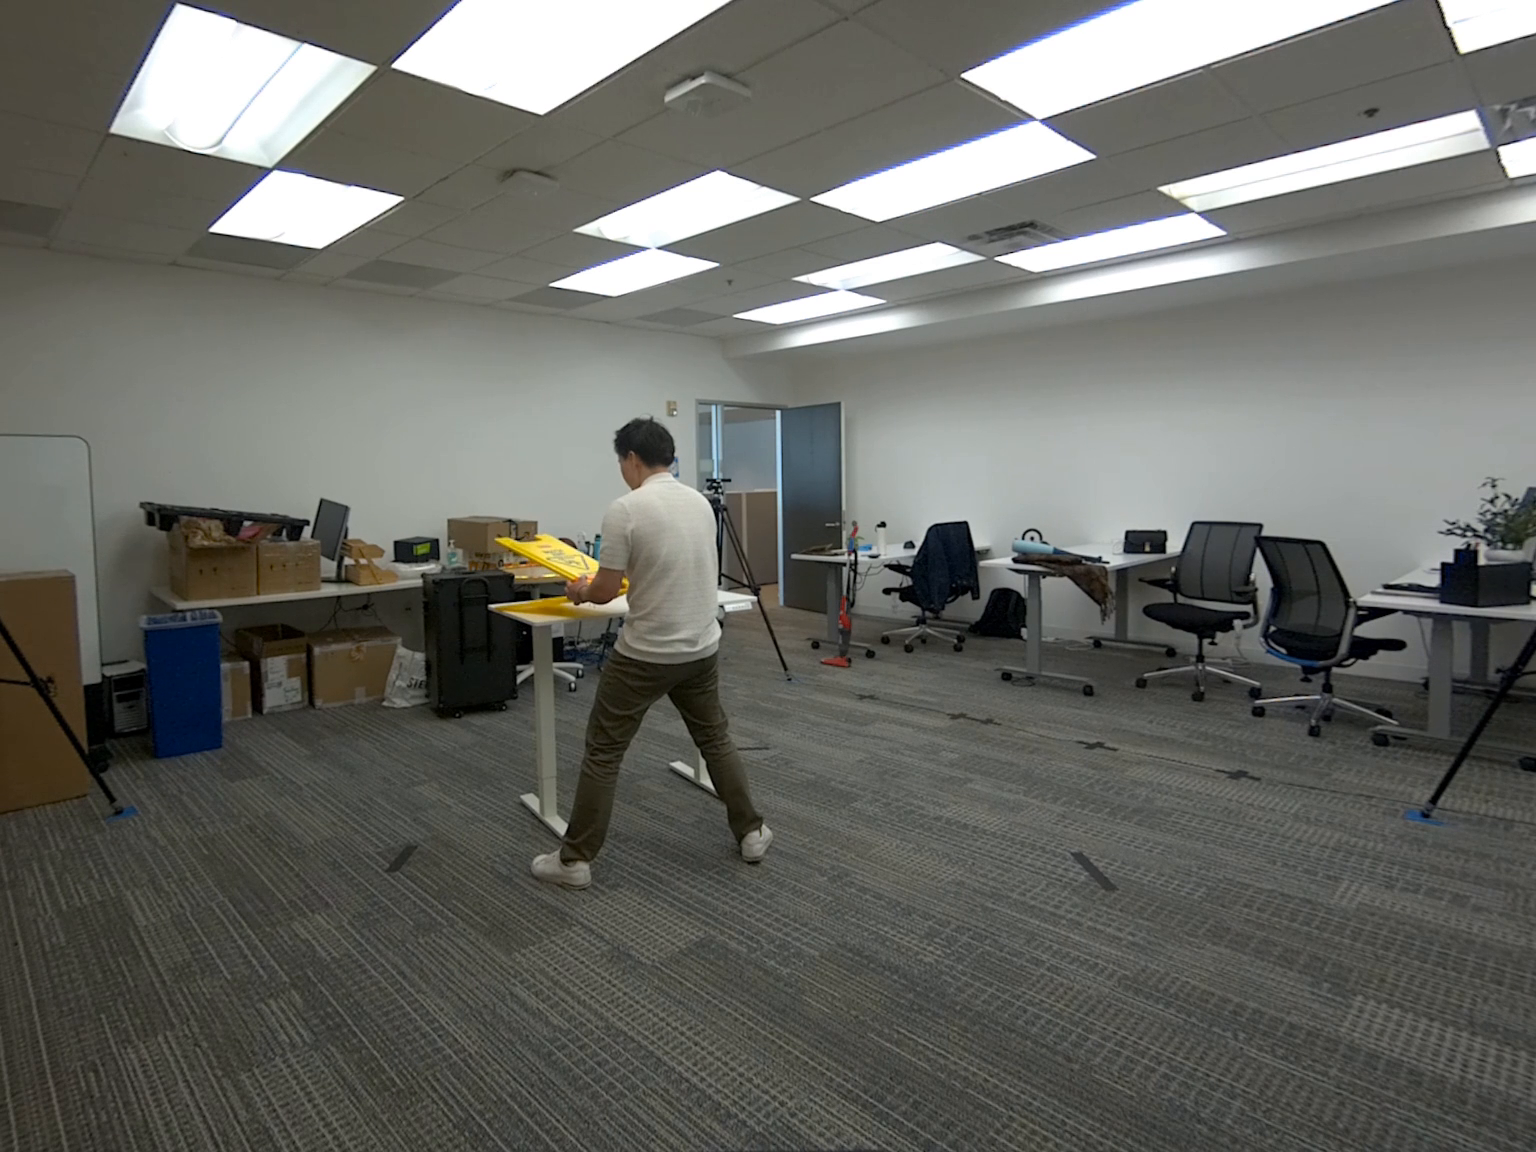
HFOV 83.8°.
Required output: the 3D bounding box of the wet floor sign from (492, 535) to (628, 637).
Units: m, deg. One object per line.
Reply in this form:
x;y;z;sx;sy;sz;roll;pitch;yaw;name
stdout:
-0.783;0.020;3.404;0.666;0.288;0.275;8;10;38;wet floor sign
